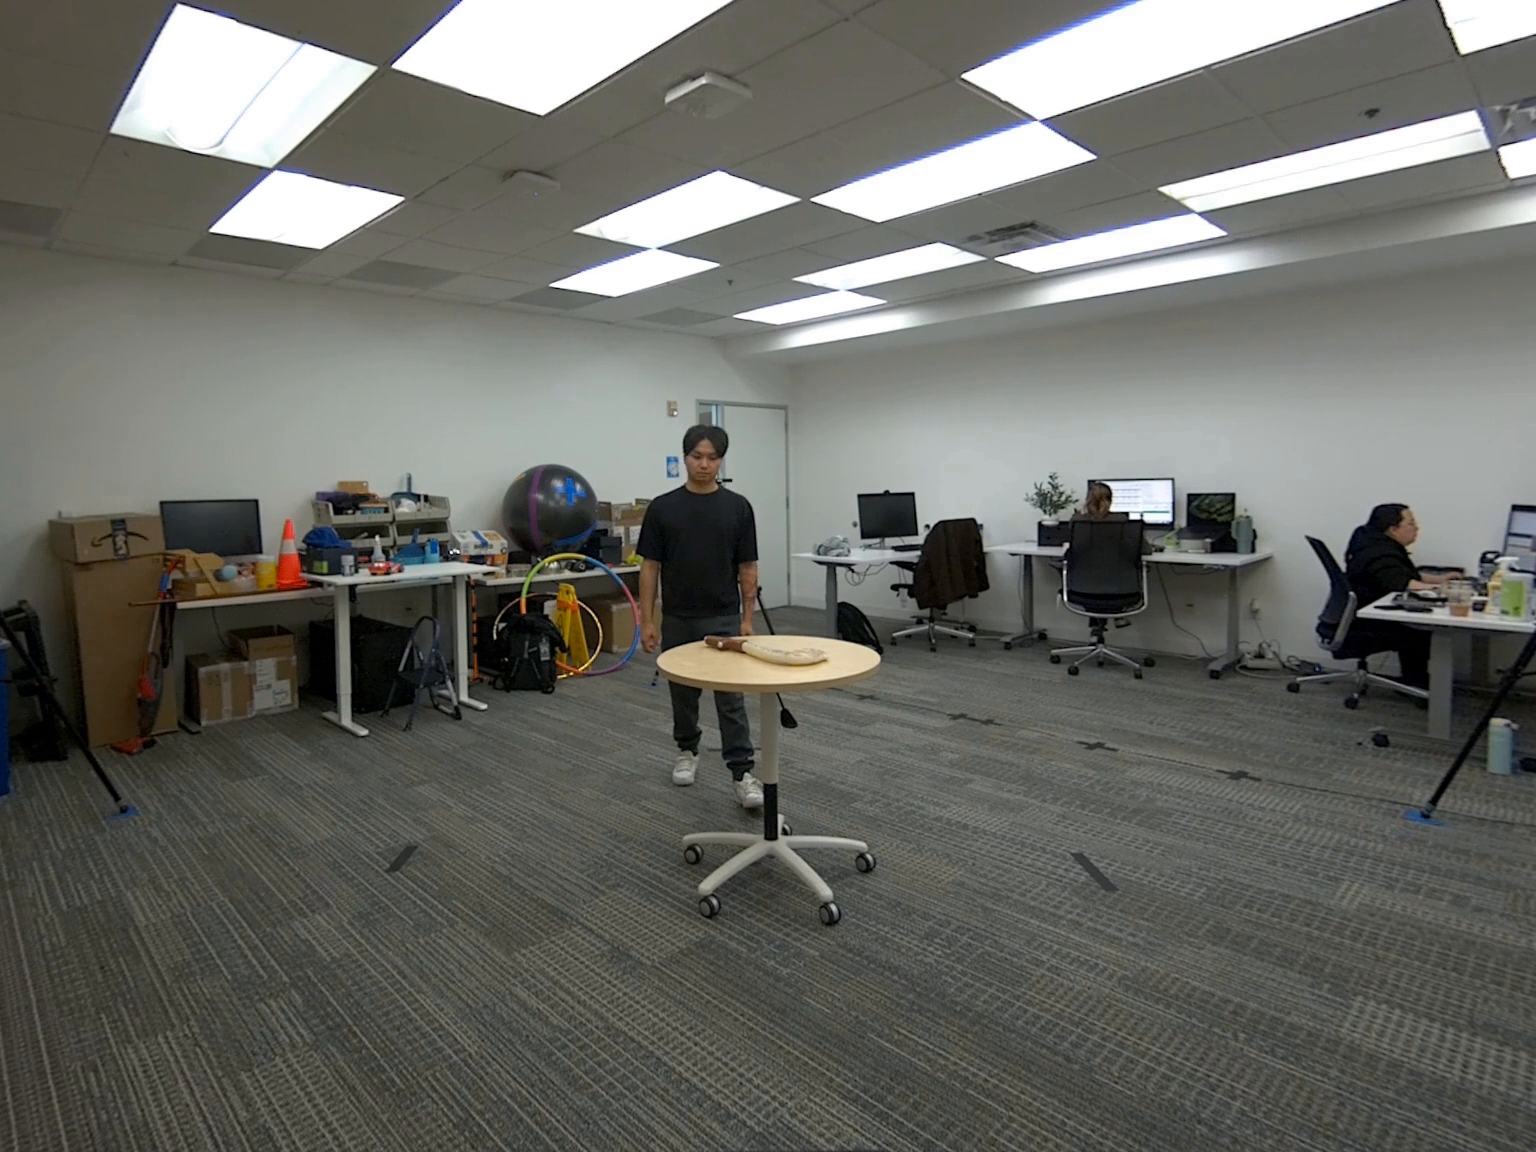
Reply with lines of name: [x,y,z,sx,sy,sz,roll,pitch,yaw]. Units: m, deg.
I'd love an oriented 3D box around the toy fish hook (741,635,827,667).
toy fish hook: [-0.011,0.263,3.003,0.218,0.048,0.523,2,4,-43]
